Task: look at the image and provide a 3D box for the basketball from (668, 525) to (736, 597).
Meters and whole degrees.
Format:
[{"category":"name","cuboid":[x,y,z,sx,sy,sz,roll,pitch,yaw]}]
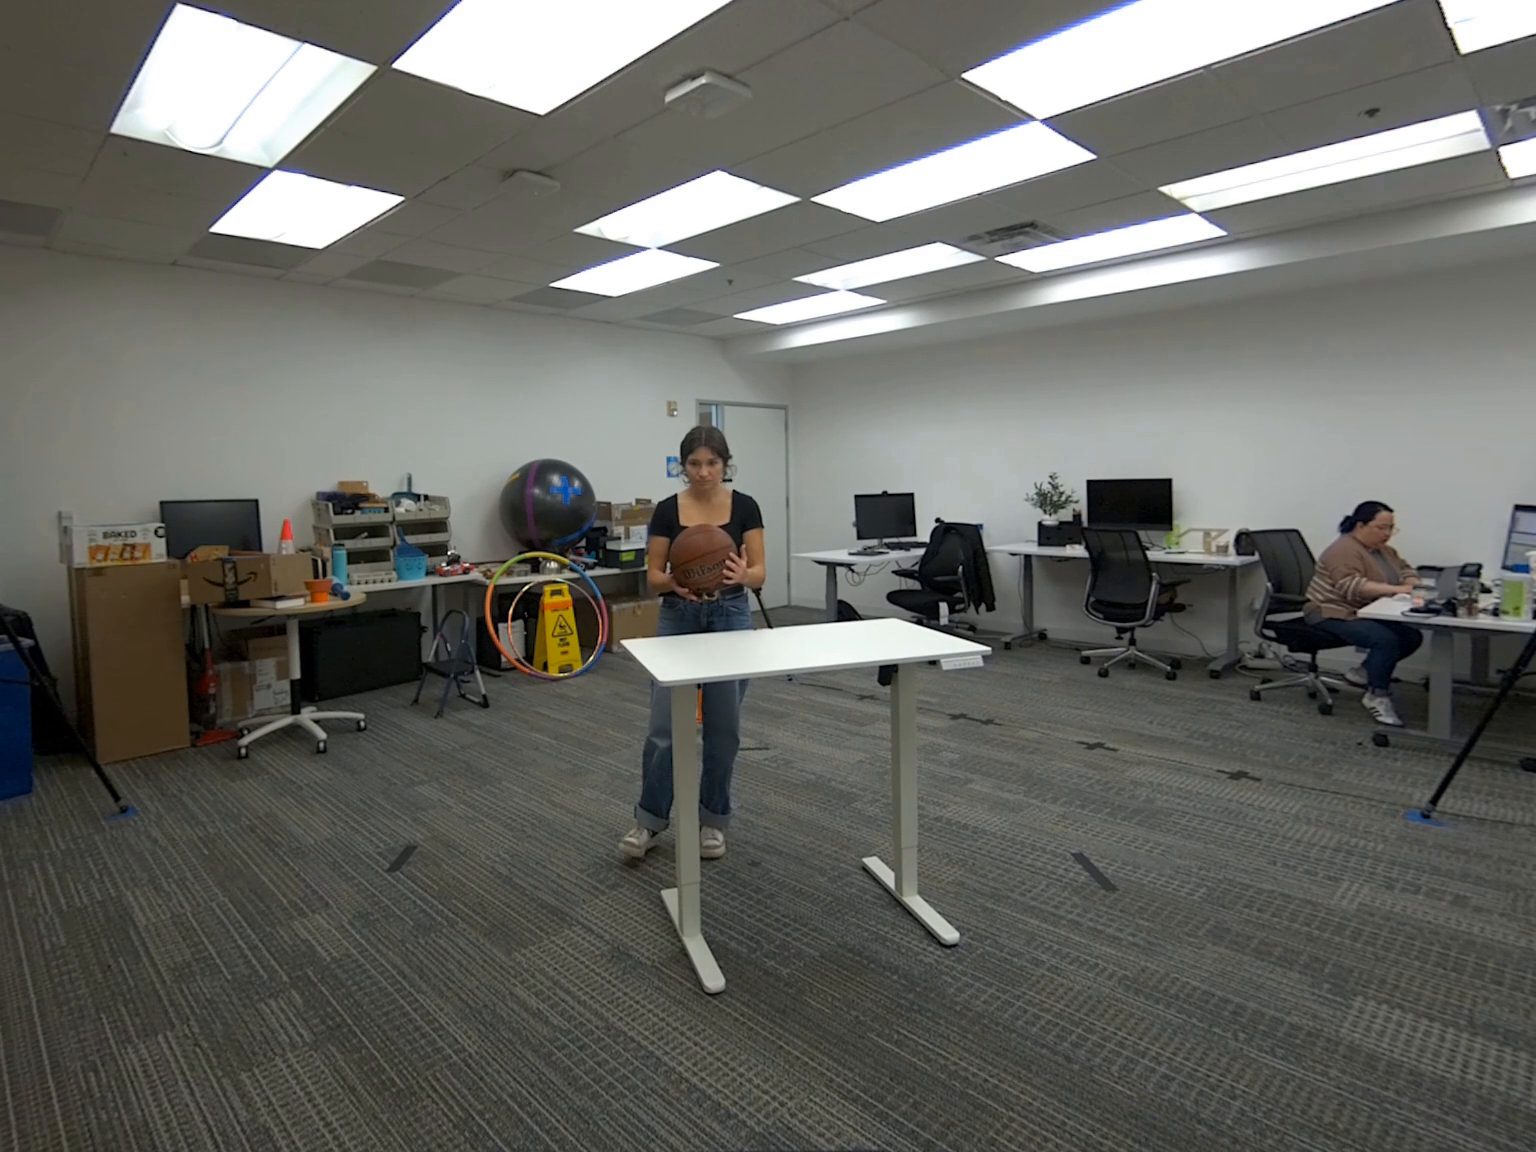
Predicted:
[{"category":"basketball","cuboid":[-0.228,-0.060,2.964,0.236,0.235,0.237,-1,5,-2]}]
